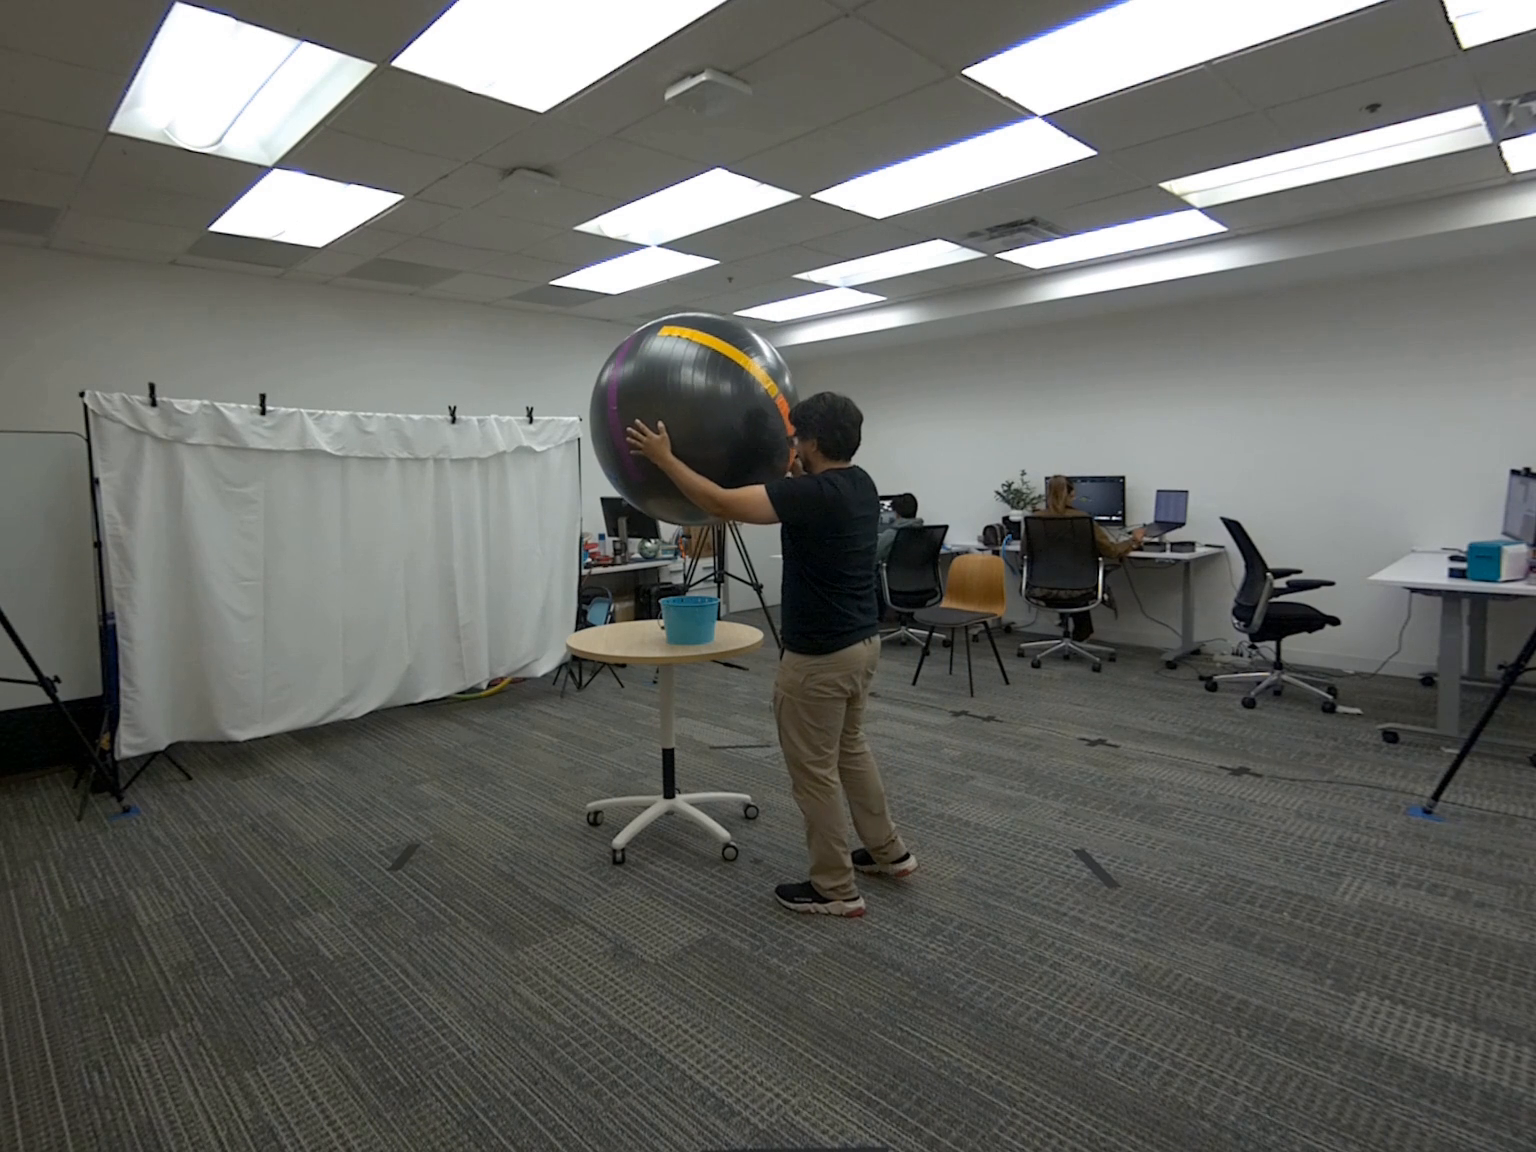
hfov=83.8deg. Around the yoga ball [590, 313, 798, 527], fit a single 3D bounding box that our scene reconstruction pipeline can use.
[{"bbox_3d":[-0.262,-0.550,3.076,0.757,0.755,0.762,-1,5,-2],"label":"yoga ball"}]
